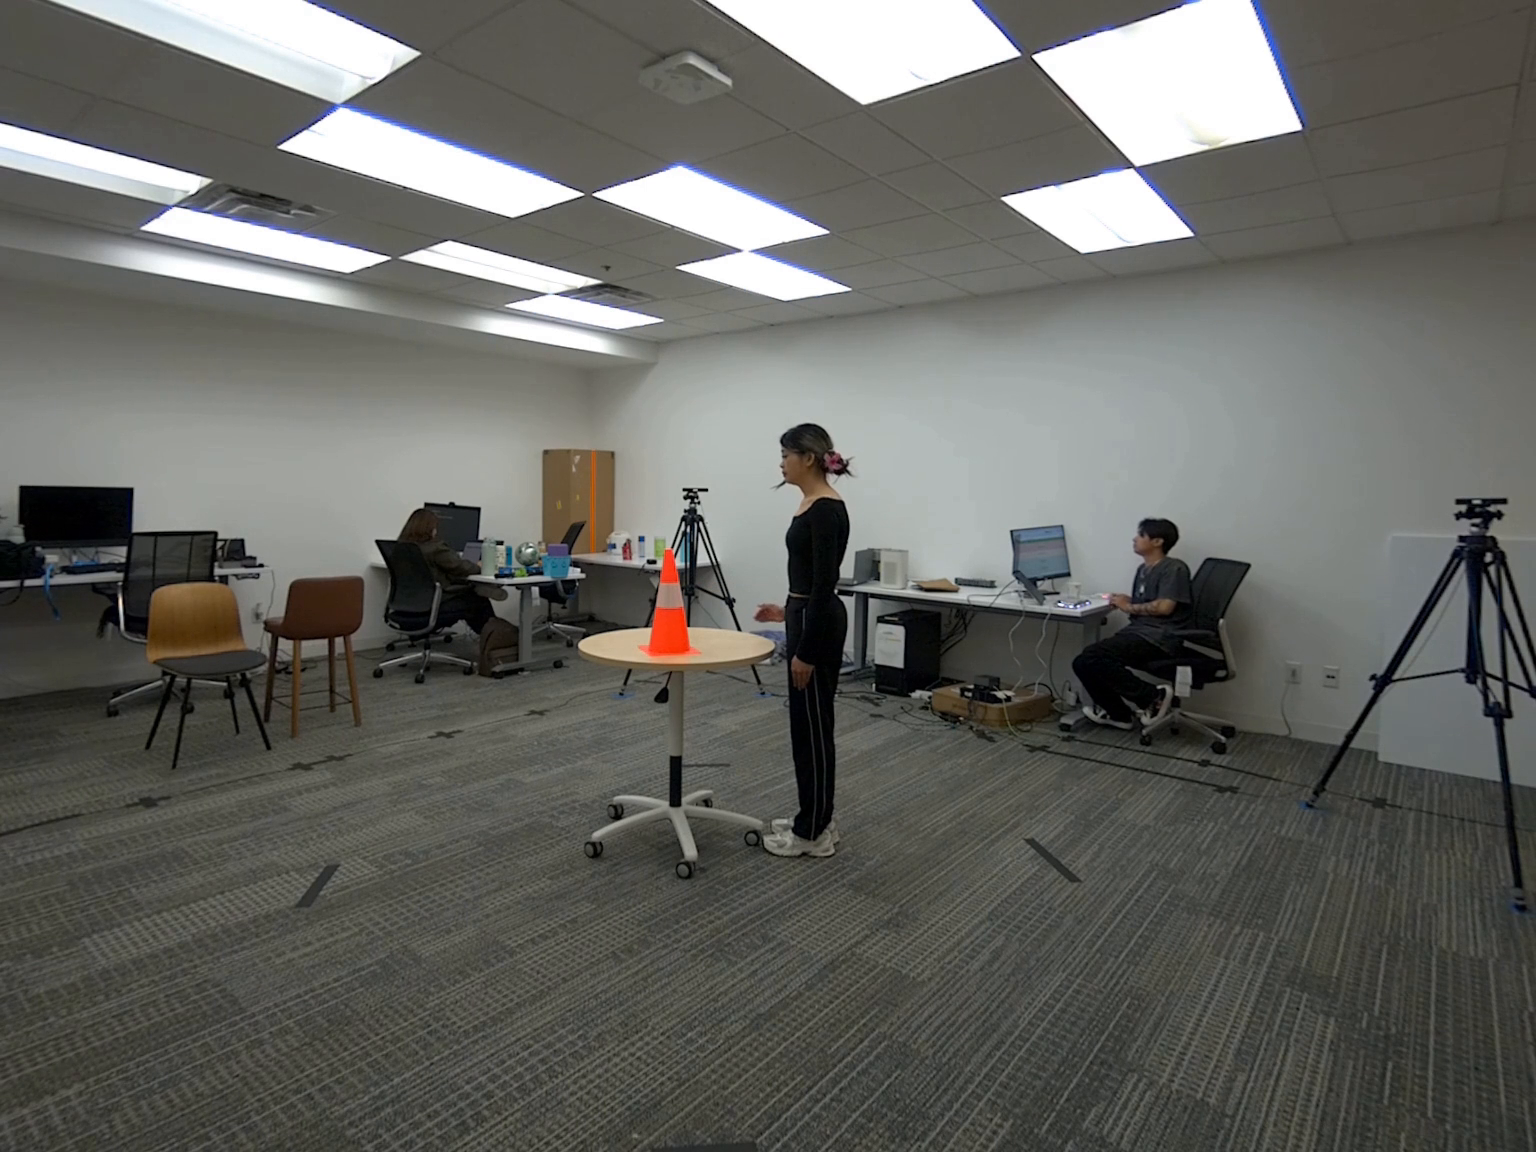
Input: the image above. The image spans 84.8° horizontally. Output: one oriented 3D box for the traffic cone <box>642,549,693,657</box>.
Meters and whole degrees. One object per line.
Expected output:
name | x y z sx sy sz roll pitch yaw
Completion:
traffic cone | -0.378 0.089 3.192 0.199 0.383 0.209 -1 3 -20
